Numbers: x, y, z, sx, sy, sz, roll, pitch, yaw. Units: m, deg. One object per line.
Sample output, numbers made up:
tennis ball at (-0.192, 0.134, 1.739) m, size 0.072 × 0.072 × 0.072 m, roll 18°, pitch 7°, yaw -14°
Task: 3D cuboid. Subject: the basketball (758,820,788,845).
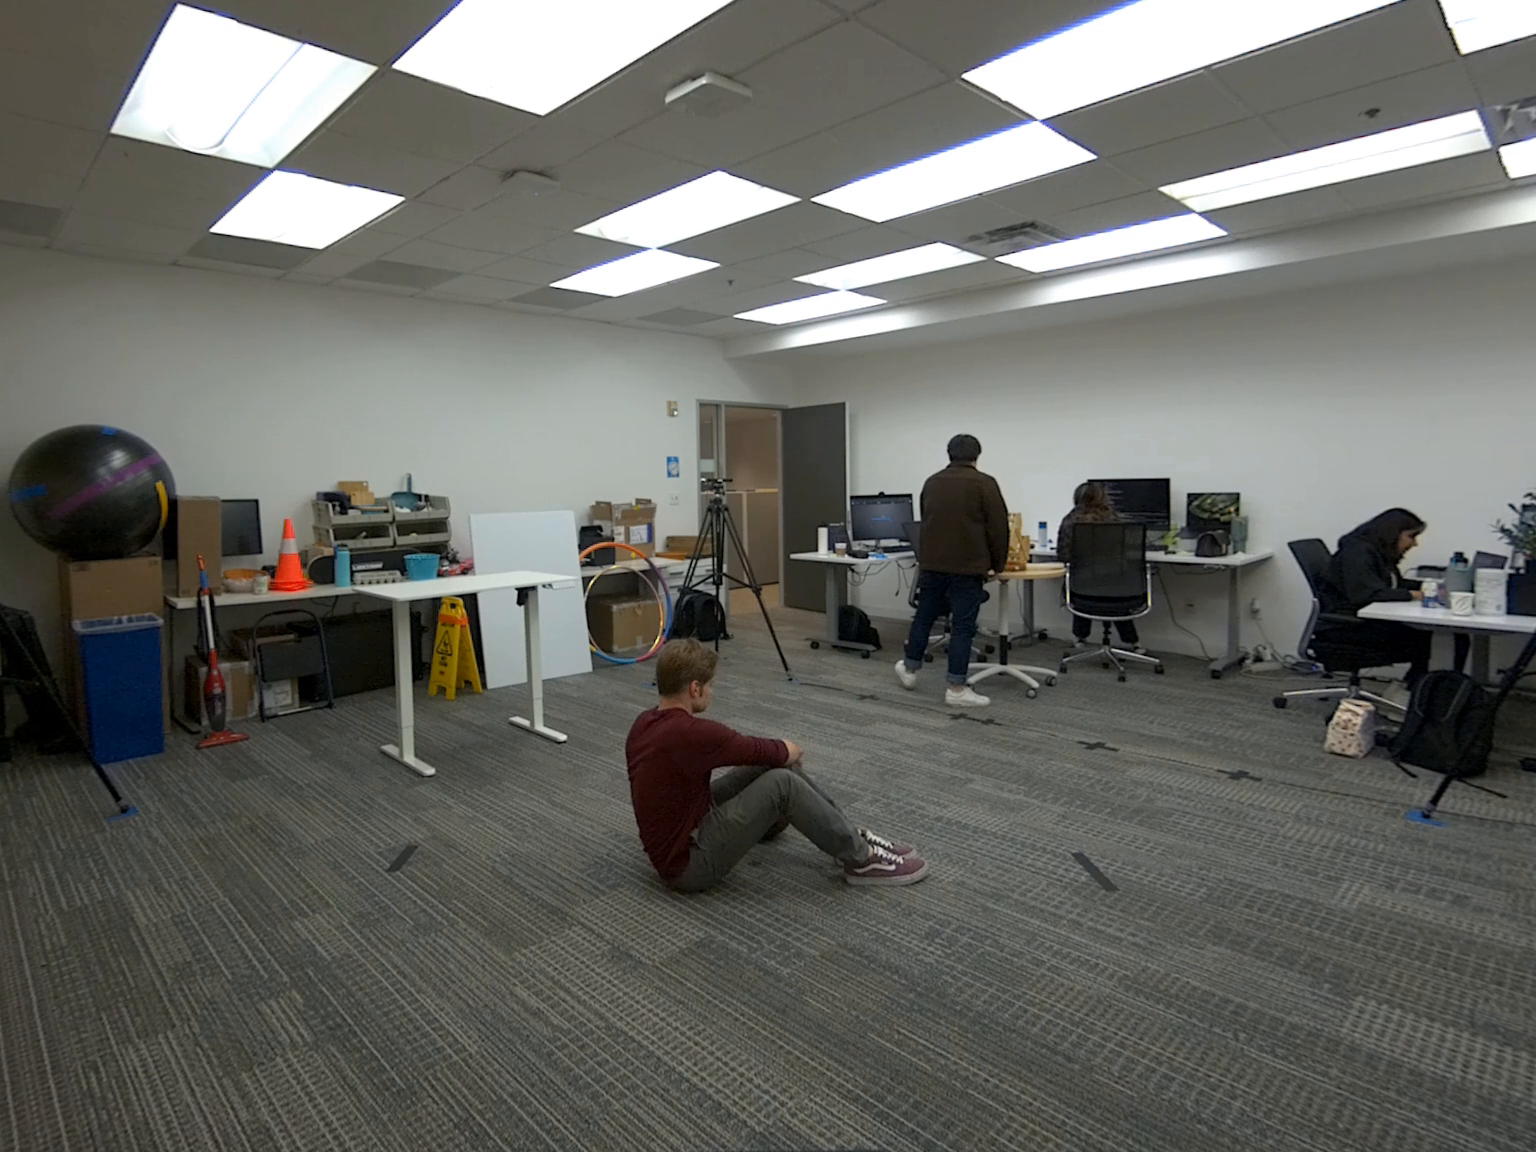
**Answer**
basketball at (-0.010, 0.893, 3.355) m, size 0.236 × 0.235 × 0.237 m, roll -1°, pitch 5°, yaw -2°
